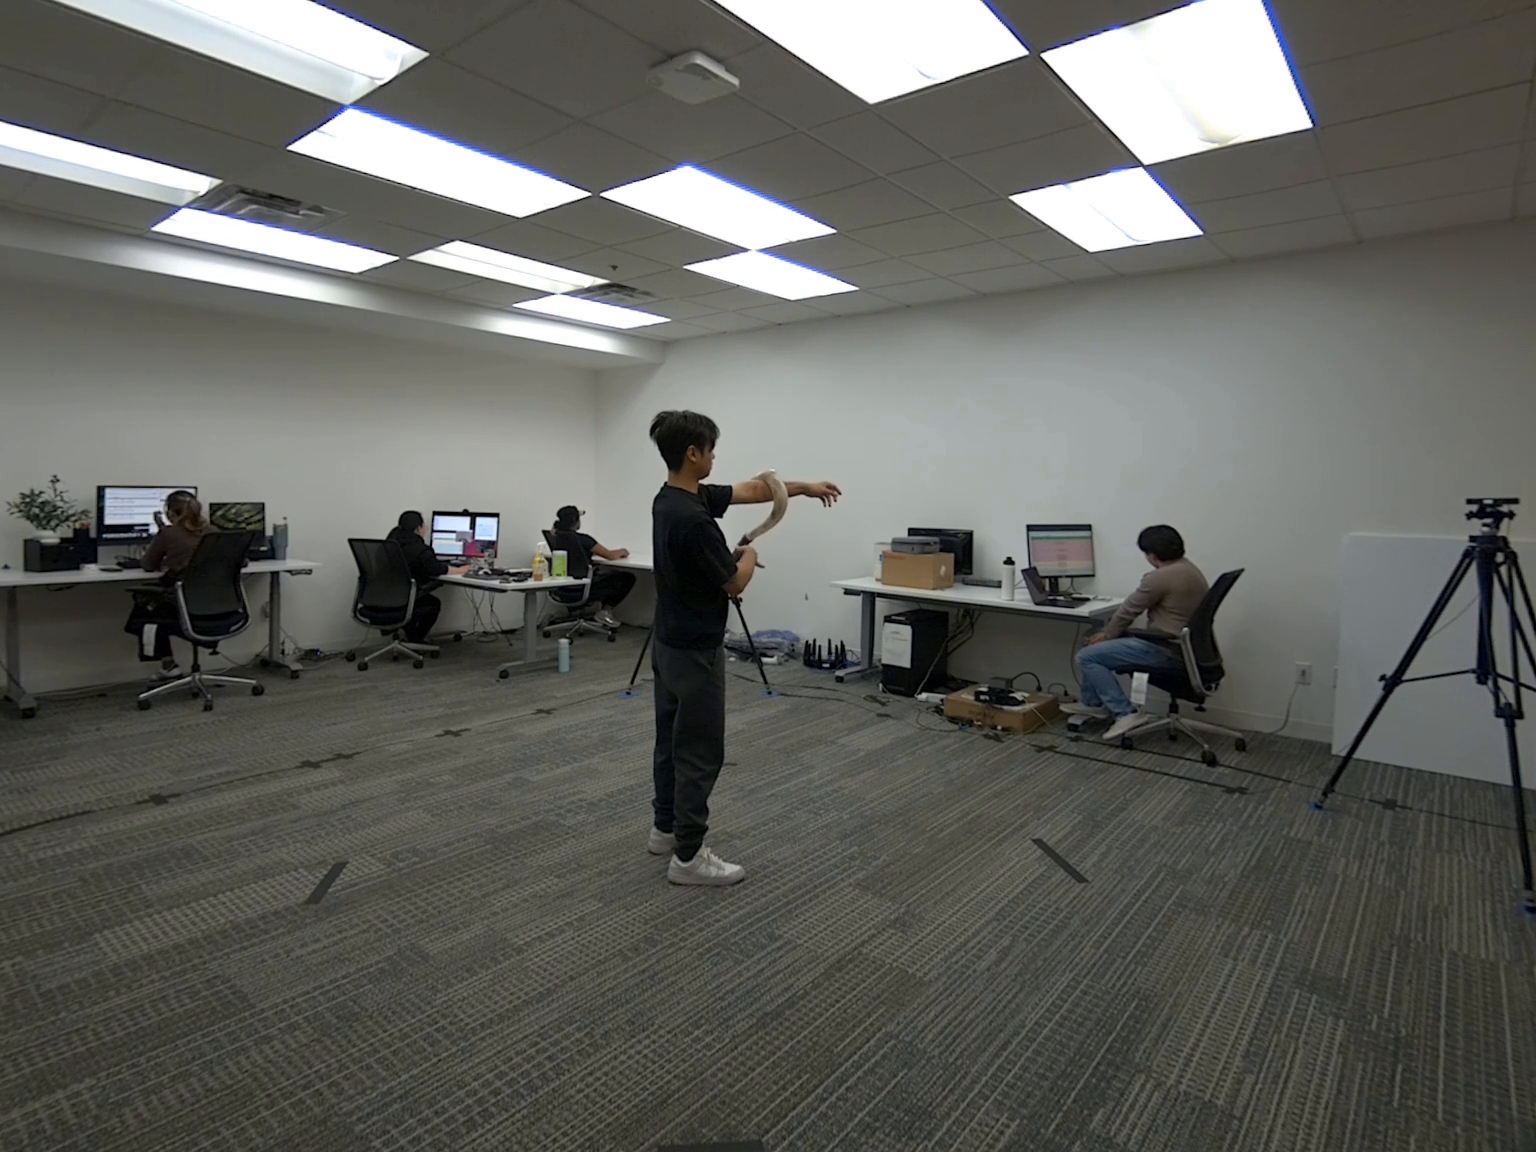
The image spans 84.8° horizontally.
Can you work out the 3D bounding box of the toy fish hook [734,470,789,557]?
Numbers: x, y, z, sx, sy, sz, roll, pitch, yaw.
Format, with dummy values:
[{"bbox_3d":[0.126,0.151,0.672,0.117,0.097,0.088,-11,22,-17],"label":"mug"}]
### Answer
[{"bbox_3d":[-0.073,-0.222,3.411,0.047,0.232,0.505,1,-37,-36],"label":"toy fish hook"}]
